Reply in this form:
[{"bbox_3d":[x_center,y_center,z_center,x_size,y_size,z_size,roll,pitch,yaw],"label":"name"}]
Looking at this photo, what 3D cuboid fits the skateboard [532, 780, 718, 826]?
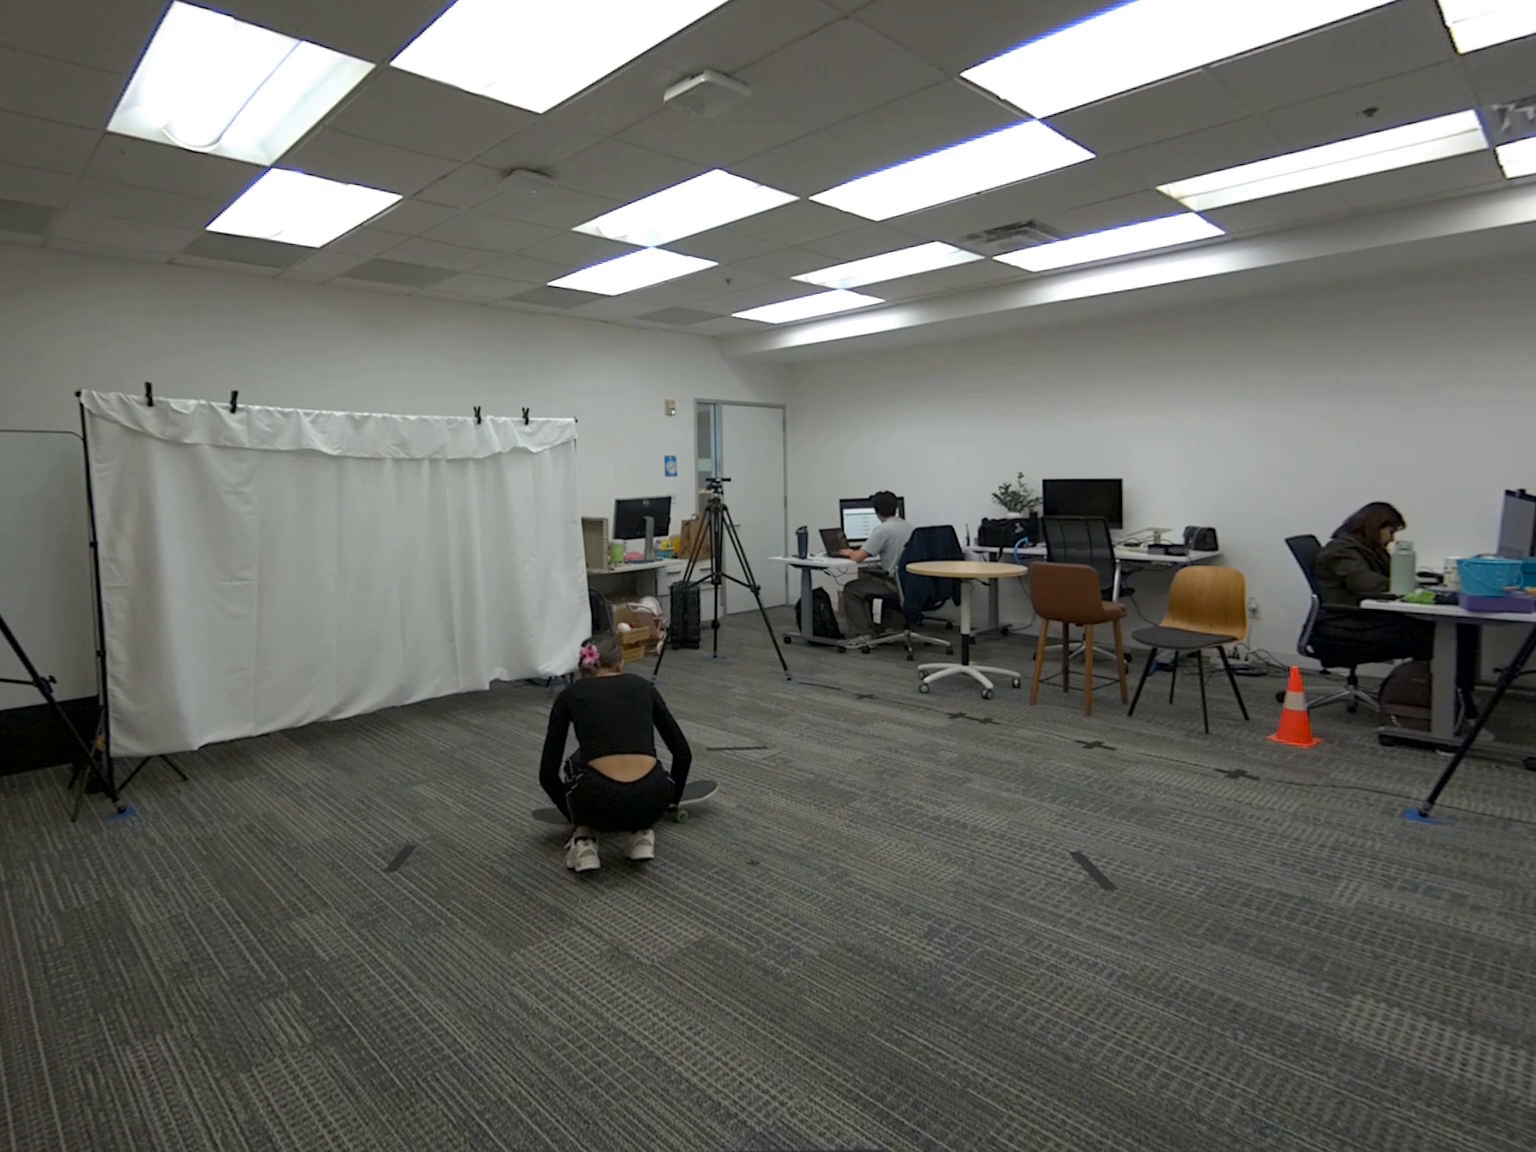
[{"bbox_3d":[-0.564,0.955,3.475,0.769,0.110,0.198,-4,7,-25],"label":"skateboard"}]
